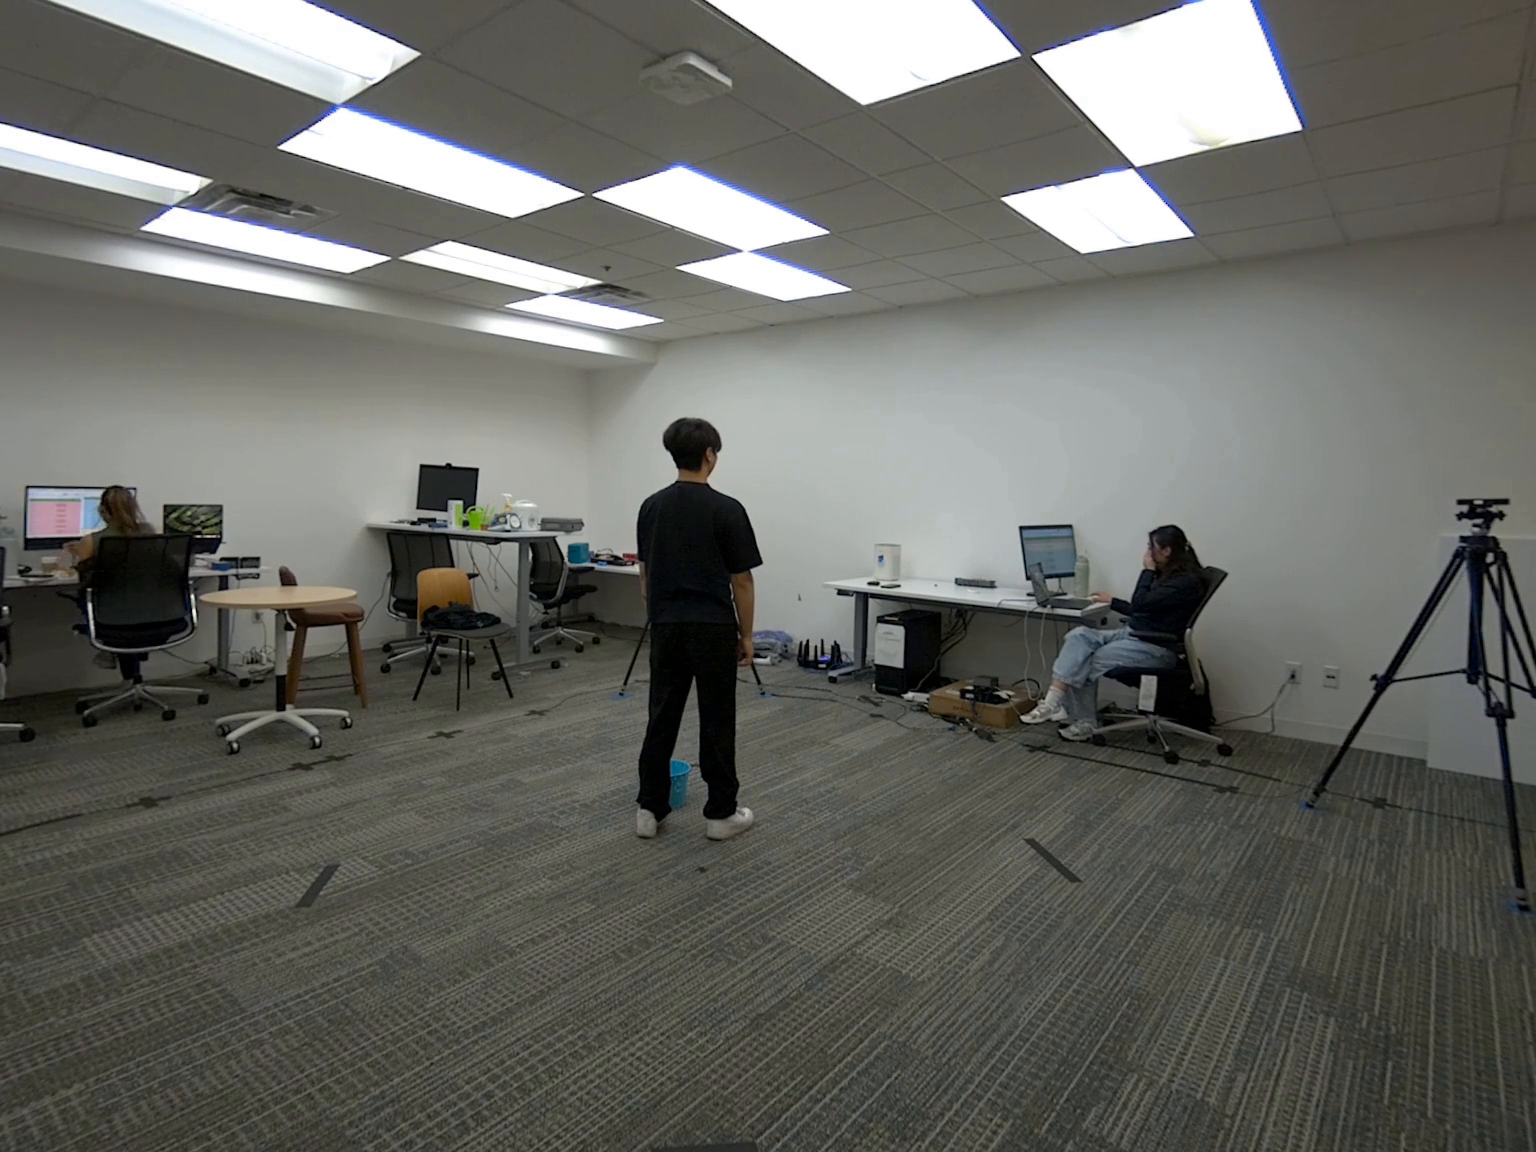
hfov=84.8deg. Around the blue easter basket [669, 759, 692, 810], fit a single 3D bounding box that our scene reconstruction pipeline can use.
[{"bbox_3d":[-0.471,0.919,3.781,0.243,0.155,0.245,1,4,-2],"label":"blue easter basket"}]
